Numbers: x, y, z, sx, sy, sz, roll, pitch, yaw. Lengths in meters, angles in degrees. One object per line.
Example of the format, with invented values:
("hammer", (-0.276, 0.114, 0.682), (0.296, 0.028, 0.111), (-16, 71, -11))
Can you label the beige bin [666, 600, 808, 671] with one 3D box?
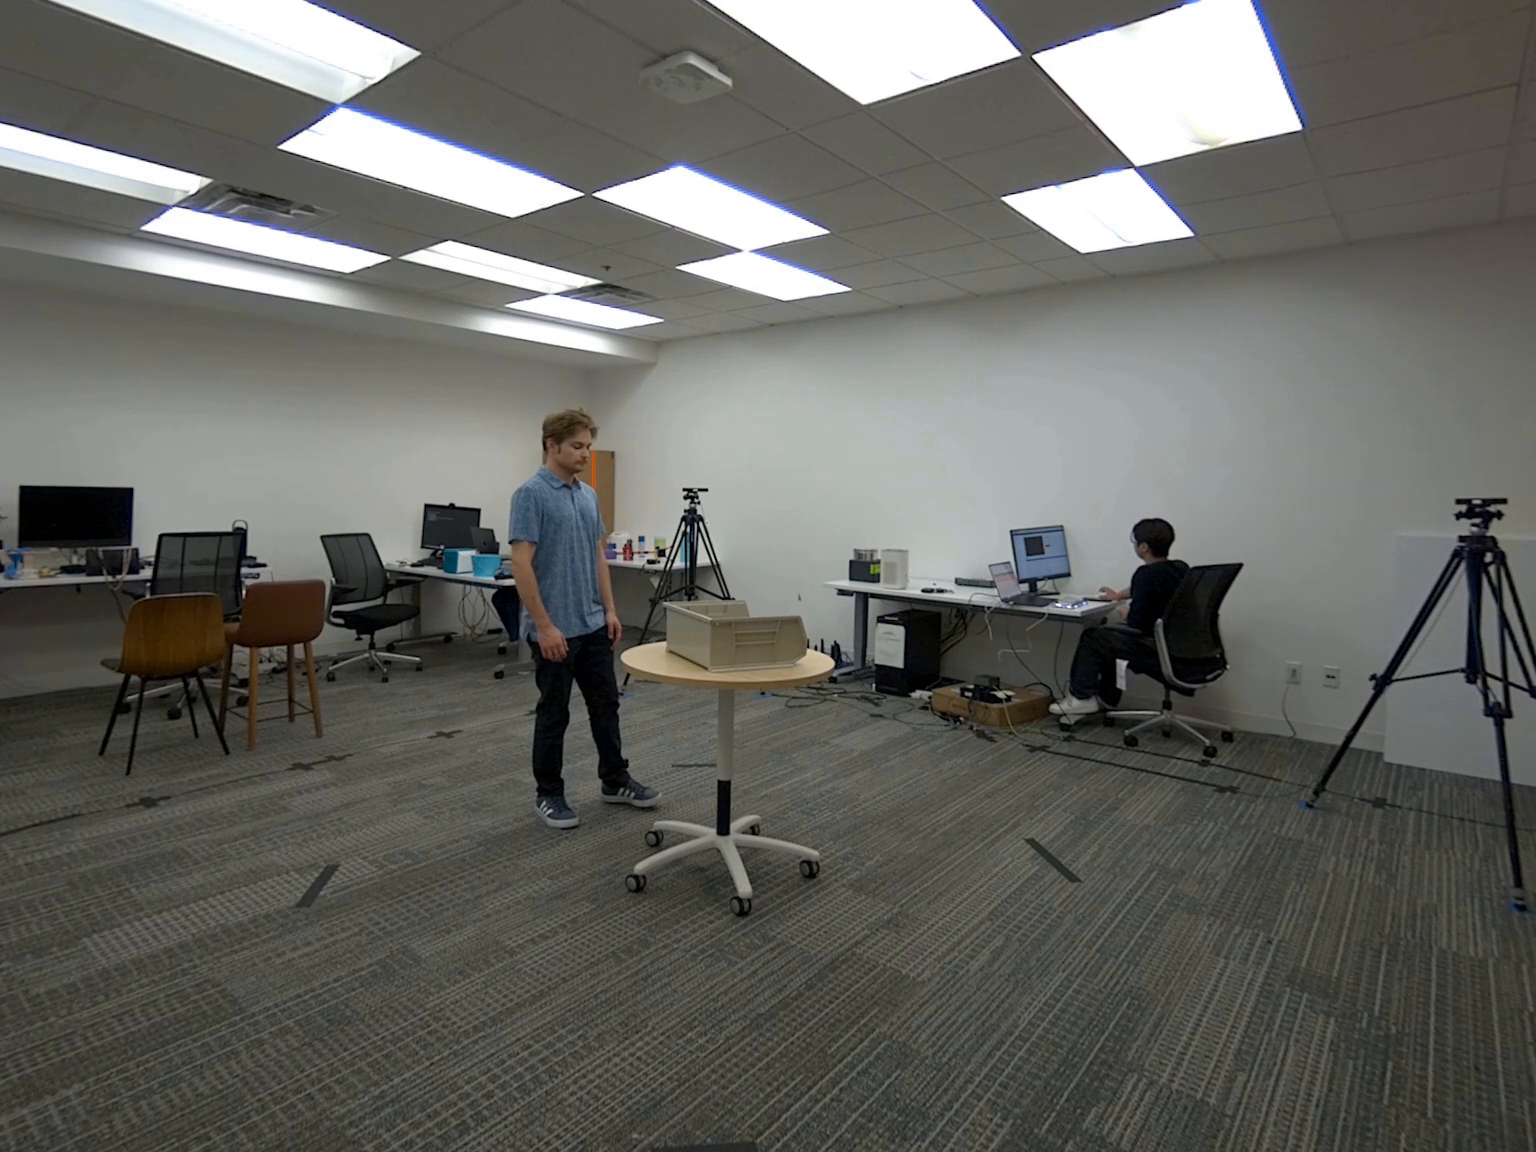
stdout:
("beige bin", (-0.132, 0.205, 3.044), (0.368, 0.188, 0.434), (-2, 6, -27))
